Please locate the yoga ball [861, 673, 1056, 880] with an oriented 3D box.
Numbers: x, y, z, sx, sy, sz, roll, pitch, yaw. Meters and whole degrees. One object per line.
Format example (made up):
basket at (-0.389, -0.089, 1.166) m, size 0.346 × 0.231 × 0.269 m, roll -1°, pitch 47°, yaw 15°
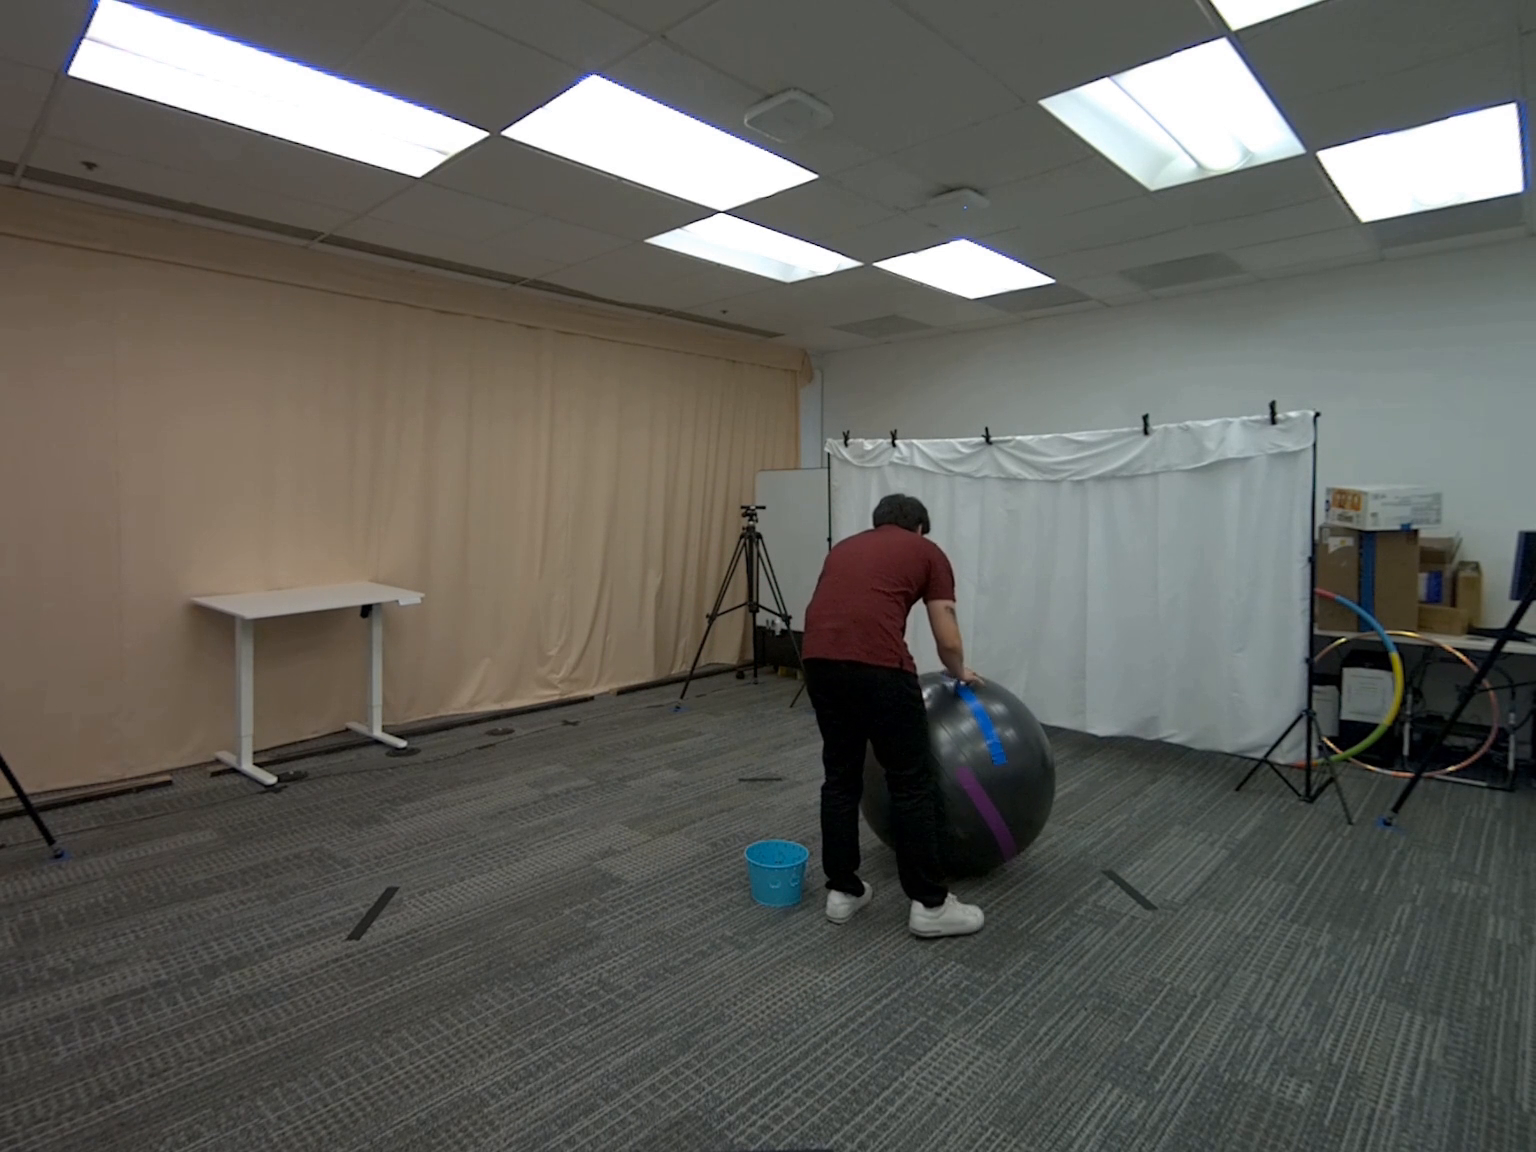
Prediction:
yoga ball at (0.716, 0.759, 3.278) m, size 0.757 × 0.756 × 0.760 m, roll 0°, pitch 4°, yaw -2°
